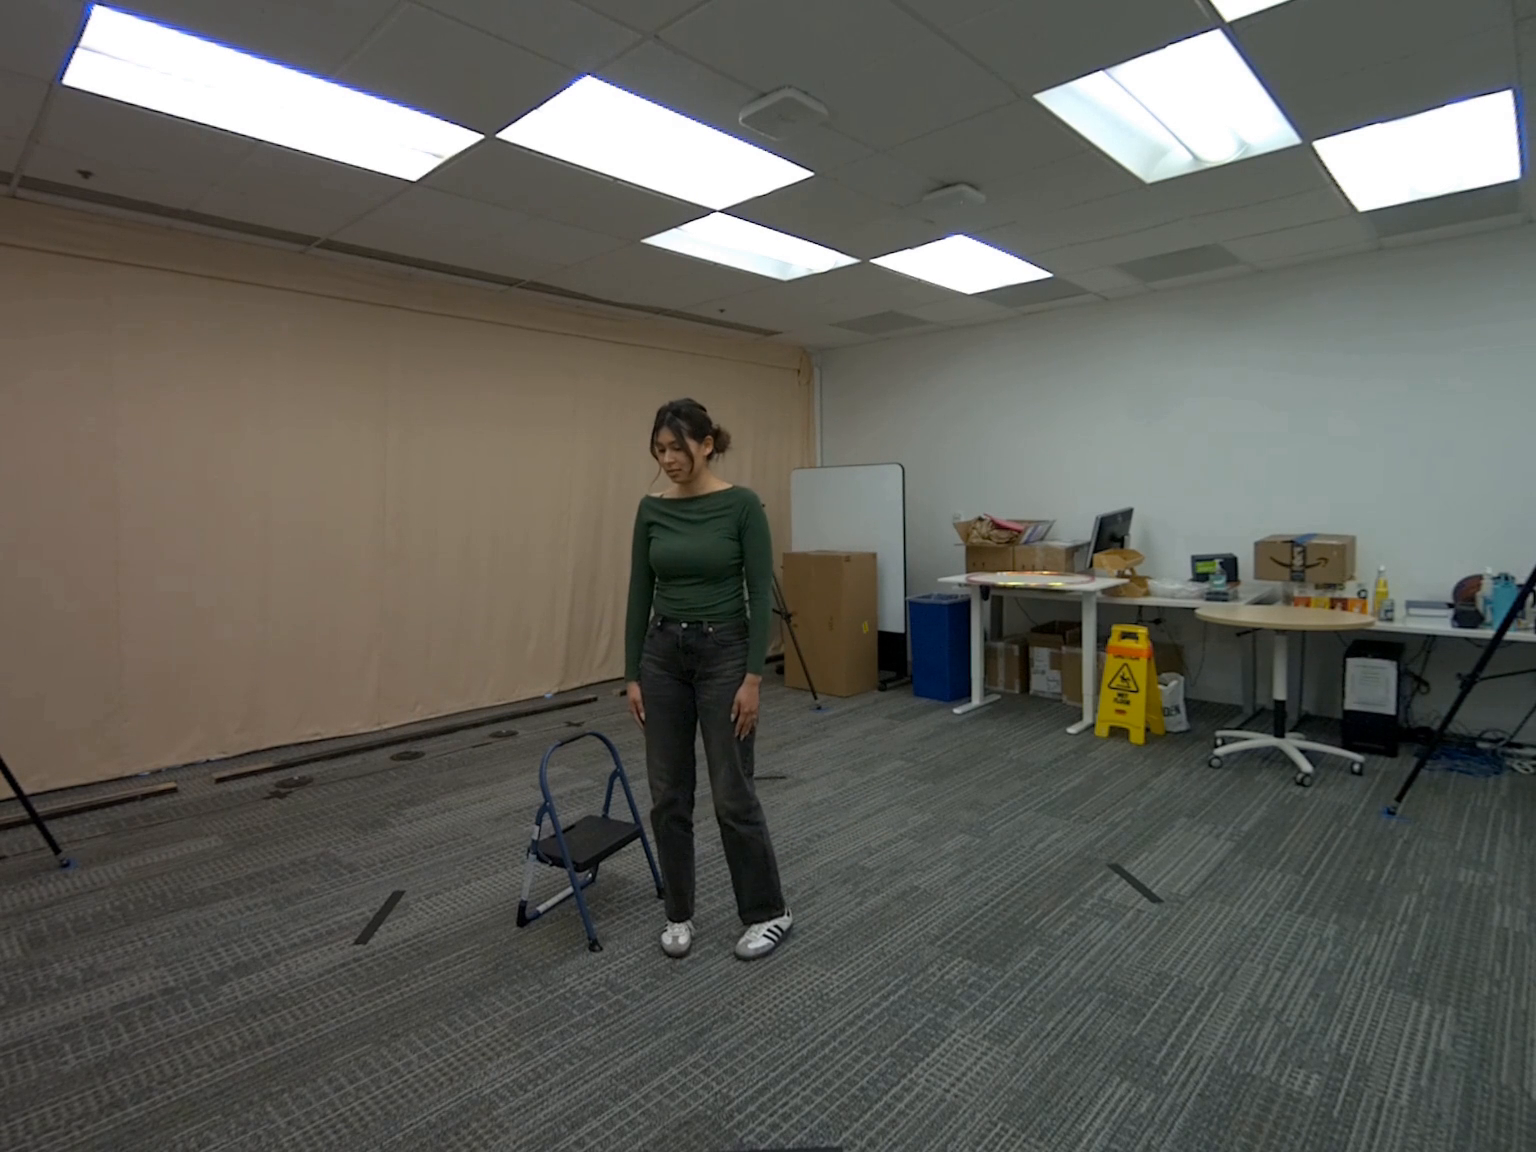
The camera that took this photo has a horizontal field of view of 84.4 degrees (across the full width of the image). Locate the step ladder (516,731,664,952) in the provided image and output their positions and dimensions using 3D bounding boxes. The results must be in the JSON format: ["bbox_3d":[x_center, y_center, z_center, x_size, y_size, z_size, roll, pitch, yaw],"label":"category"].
[{"bbox_3d":[-0.604,0.858,2.892,0.359,0.605,0.420,1,3,27],"label":"step ladder"}]
